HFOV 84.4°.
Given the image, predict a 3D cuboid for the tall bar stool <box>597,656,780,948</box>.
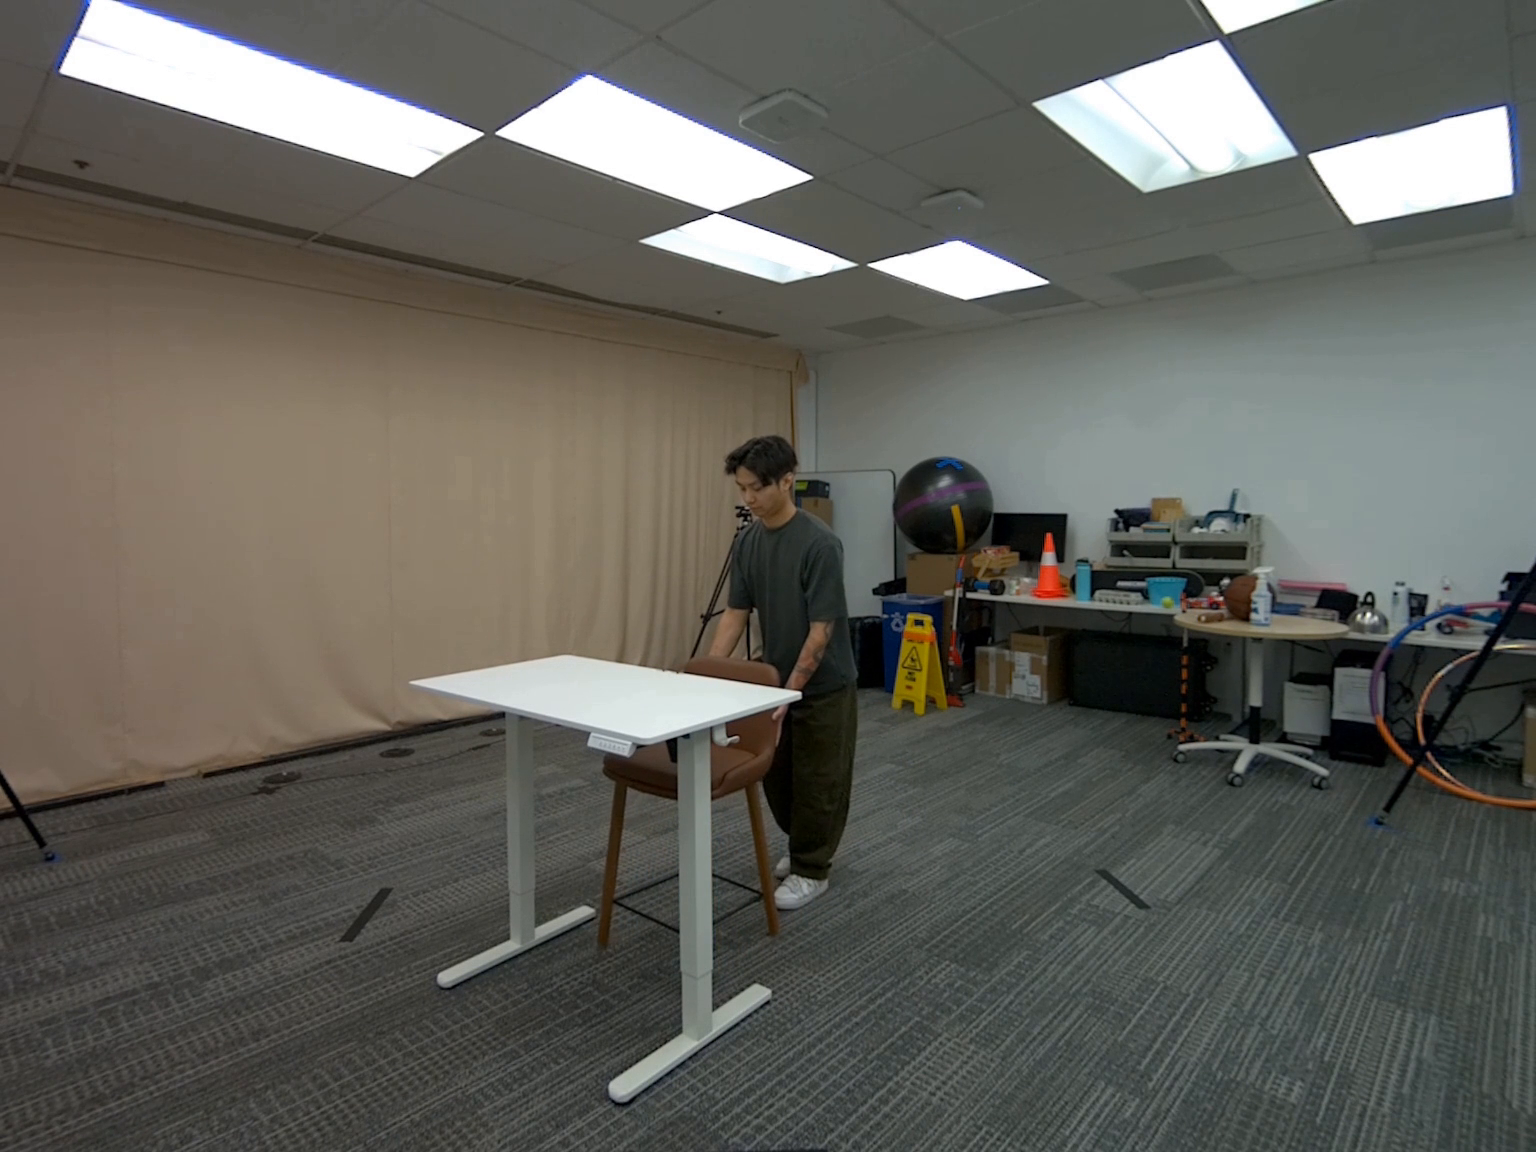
[{"bbox_3d":[-0.238,0.729,2.684,0.471,0.889,0.453,1,1,41],"label":"tall bar stool"}]
